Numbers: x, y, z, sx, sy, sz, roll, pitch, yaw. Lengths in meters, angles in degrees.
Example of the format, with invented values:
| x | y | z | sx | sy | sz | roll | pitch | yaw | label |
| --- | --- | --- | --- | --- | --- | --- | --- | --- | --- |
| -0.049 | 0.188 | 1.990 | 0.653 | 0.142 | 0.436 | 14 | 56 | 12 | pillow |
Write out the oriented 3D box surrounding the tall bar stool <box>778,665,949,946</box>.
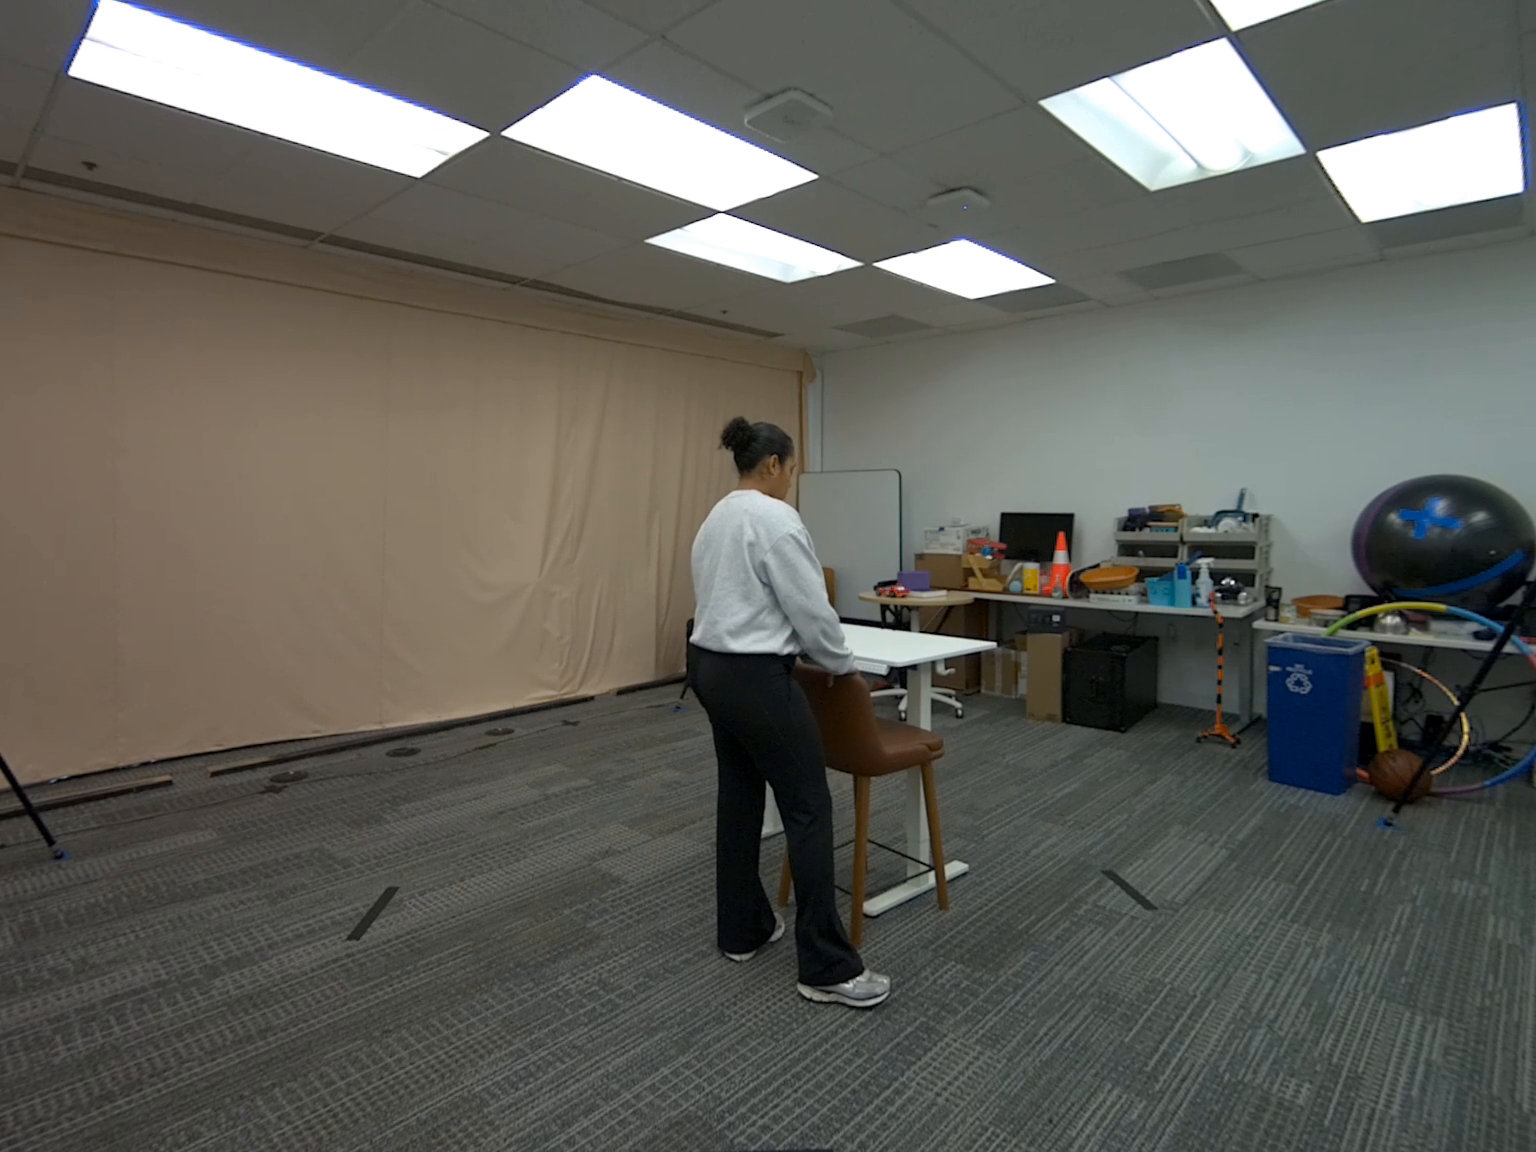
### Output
| x | y | z | sx | sy | sz | roll | pitch | yaw | label |
| --- | --- | --- | --- | --- | --- | --- | --- | --- | --- |
| 0.312 | 0.710 | 2.897 | 0.454 | 0.887 | 0.471 | -5 | 6 | -38 | tall bar stool |
